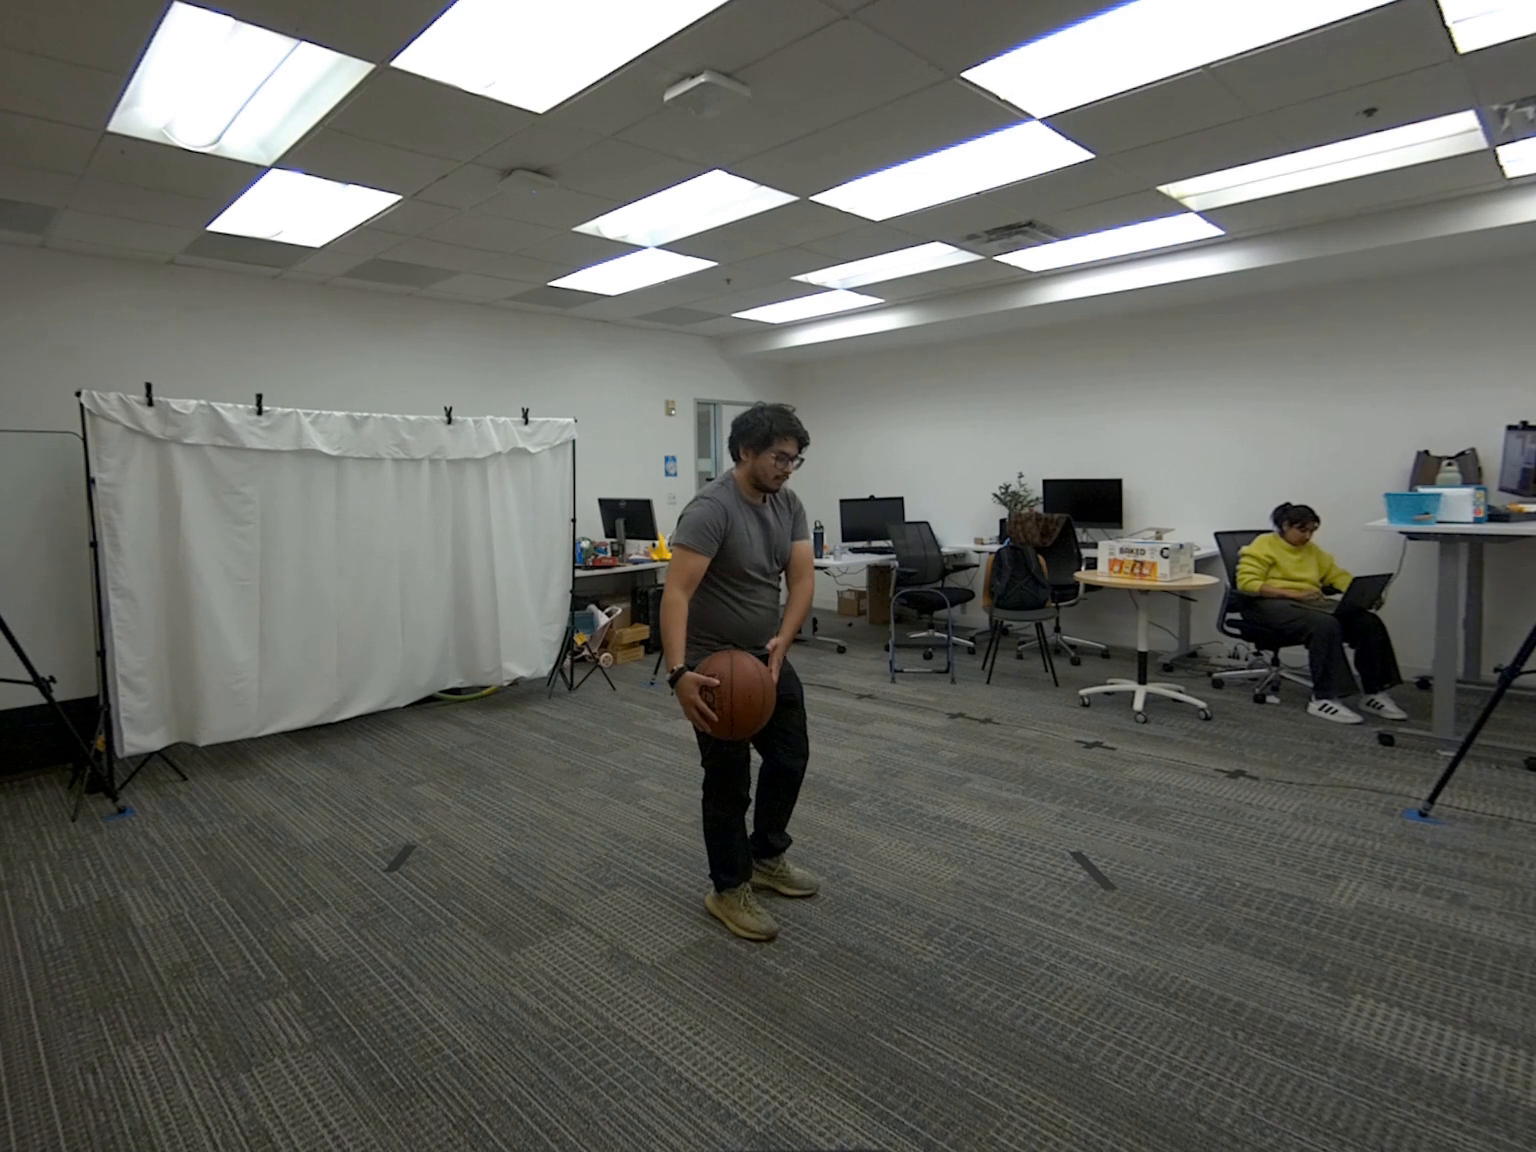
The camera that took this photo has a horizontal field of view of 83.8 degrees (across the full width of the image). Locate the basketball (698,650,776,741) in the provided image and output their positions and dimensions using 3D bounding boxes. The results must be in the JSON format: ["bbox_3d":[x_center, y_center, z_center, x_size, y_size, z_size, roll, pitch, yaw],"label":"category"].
[{"bbox_3d":[-0.096,0.318,2.303,0.236,0.235,0.237,-1,5,-2],"label":"basketball"}]
